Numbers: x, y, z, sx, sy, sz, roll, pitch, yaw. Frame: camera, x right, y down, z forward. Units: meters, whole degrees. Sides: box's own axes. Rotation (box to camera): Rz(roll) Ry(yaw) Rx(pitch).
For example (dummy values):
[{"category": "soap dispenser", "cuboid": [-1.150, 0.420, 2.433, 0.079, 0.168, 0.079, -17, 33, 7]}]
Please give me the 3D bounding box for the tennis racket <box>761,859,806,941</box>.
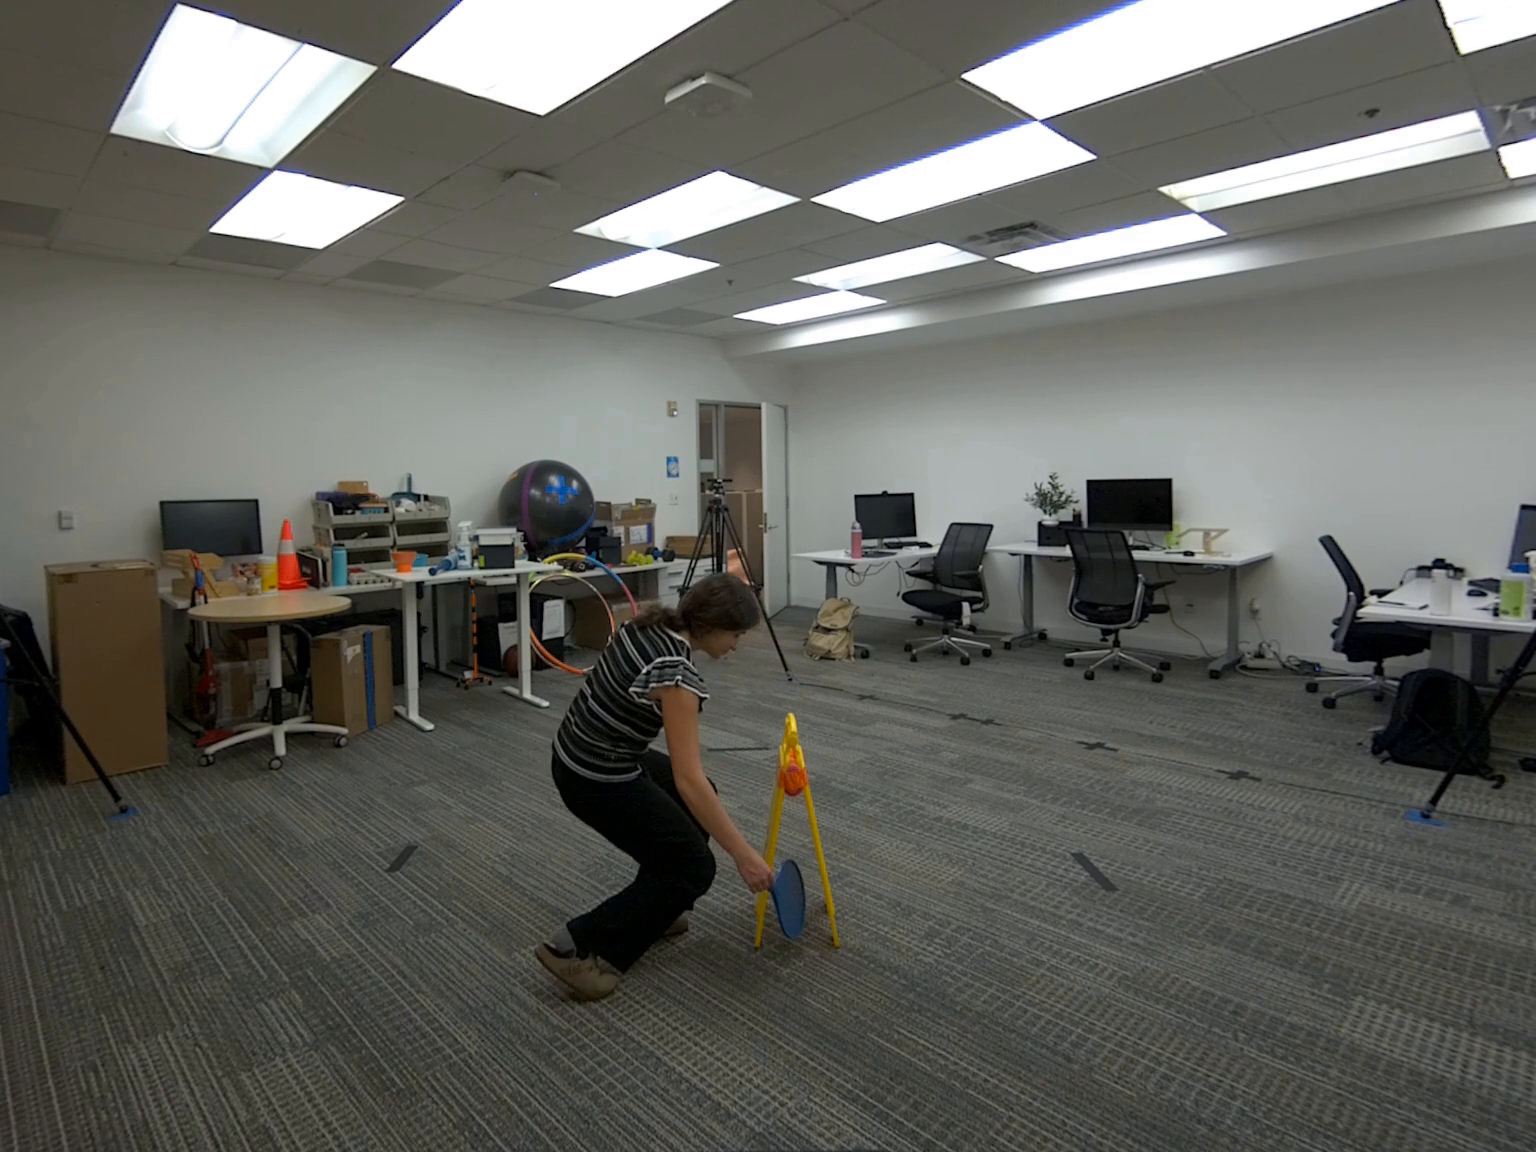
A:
[{"category": "tennis racket", "cuboid": [0.034, 0.886, 2.431, 0.032, 0.219, 0.417, -11, -42, 11]}]
